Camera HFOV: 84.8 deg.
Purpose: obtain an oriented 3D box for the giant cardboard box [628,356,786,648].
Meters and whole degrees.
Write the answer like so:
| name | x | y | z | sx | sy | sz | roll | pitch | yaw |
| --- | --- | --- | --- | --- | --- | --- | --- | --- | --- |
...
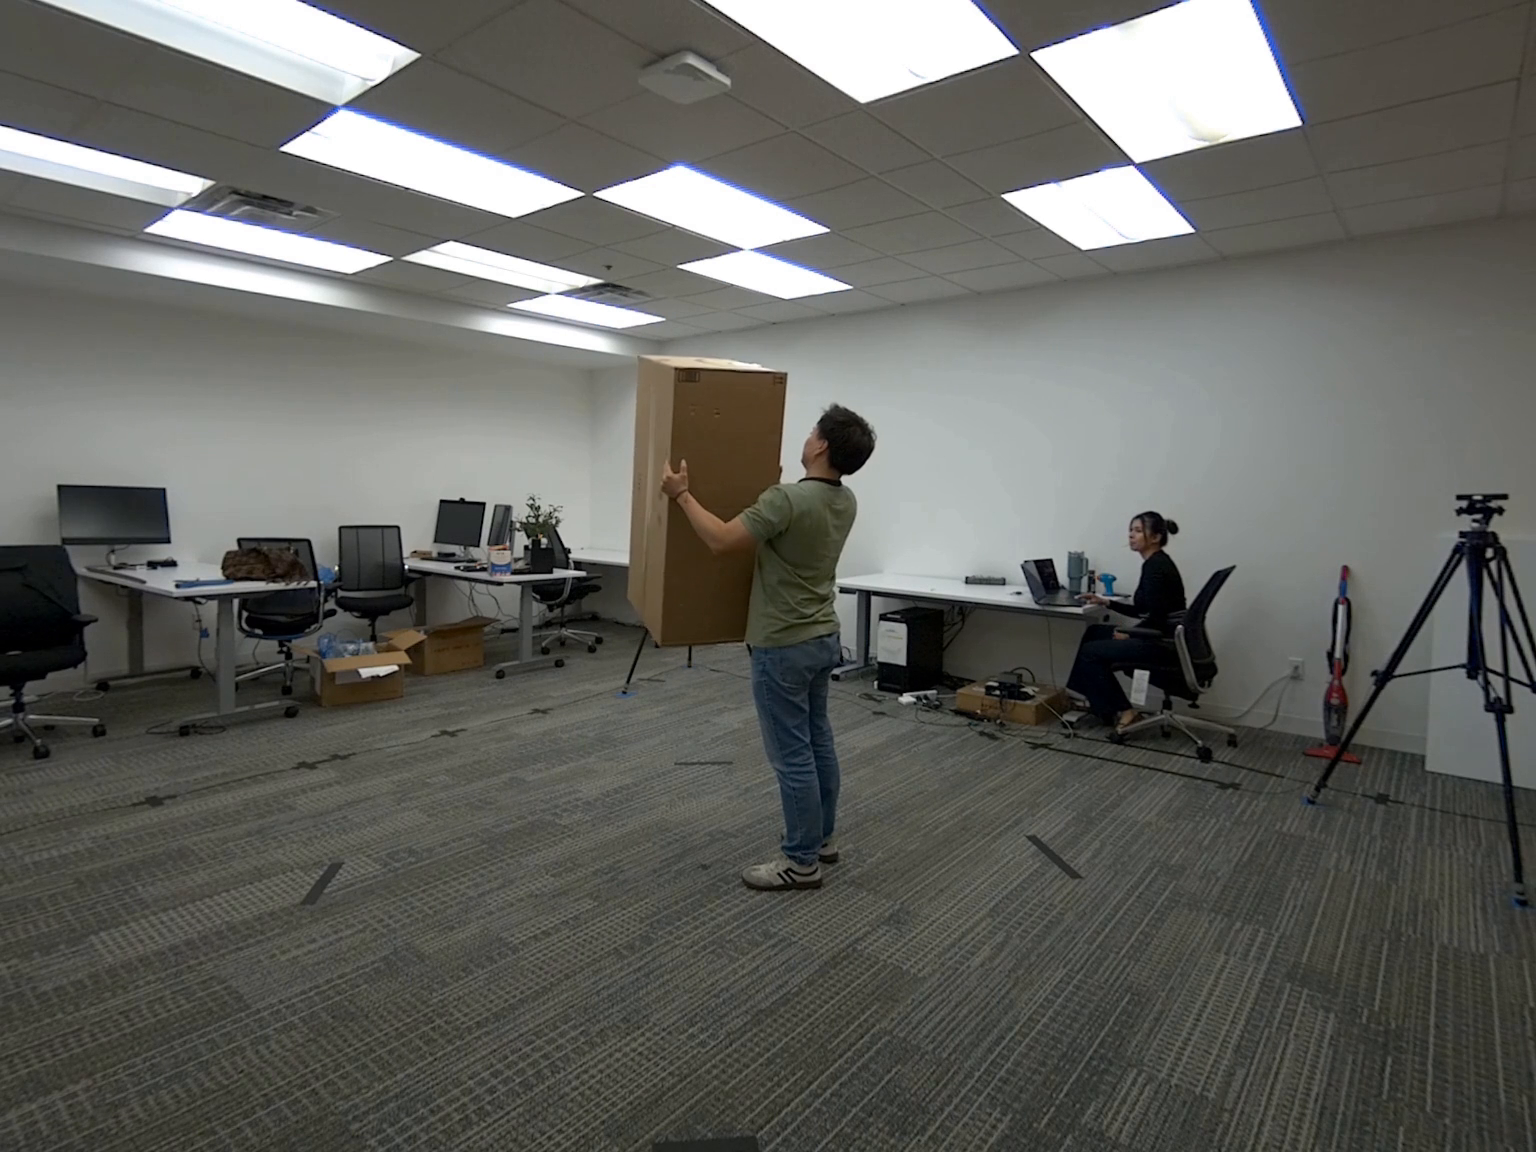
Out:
| name | x | y | z | sx | sy | sz | roll | pitch | yaw |
| --- | --- | --- | --- | --- | --- | --- | --- | --- | --- |
| giant cardboard box | -0.274 | -0.318 | 3.334 | 0.418 | 1.013 | 0.597 | -1 | 16 | -21 |
